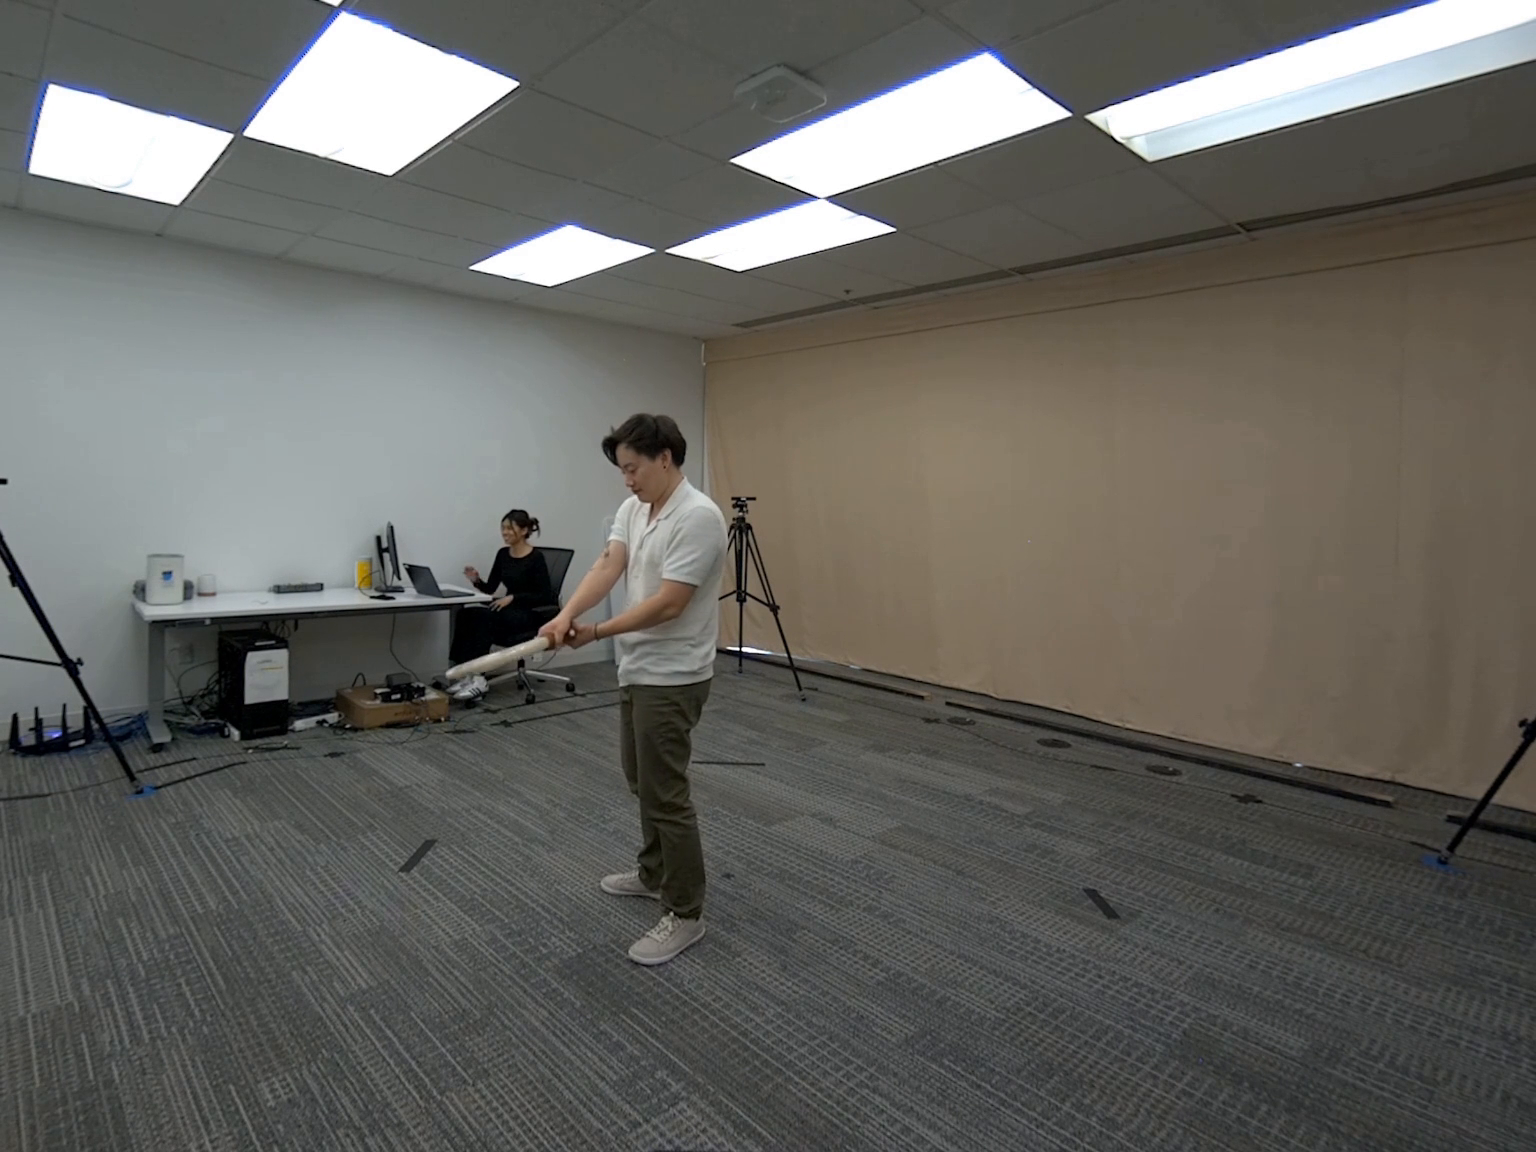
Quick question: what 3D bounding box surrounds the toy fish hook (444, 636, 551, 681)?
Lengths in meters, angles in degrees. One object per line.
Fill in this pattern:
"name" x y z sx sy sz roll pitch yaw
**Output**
"toy fish hook" -0.697 0.220 2.358 0.228 0.048 0.500 -11 2 24
